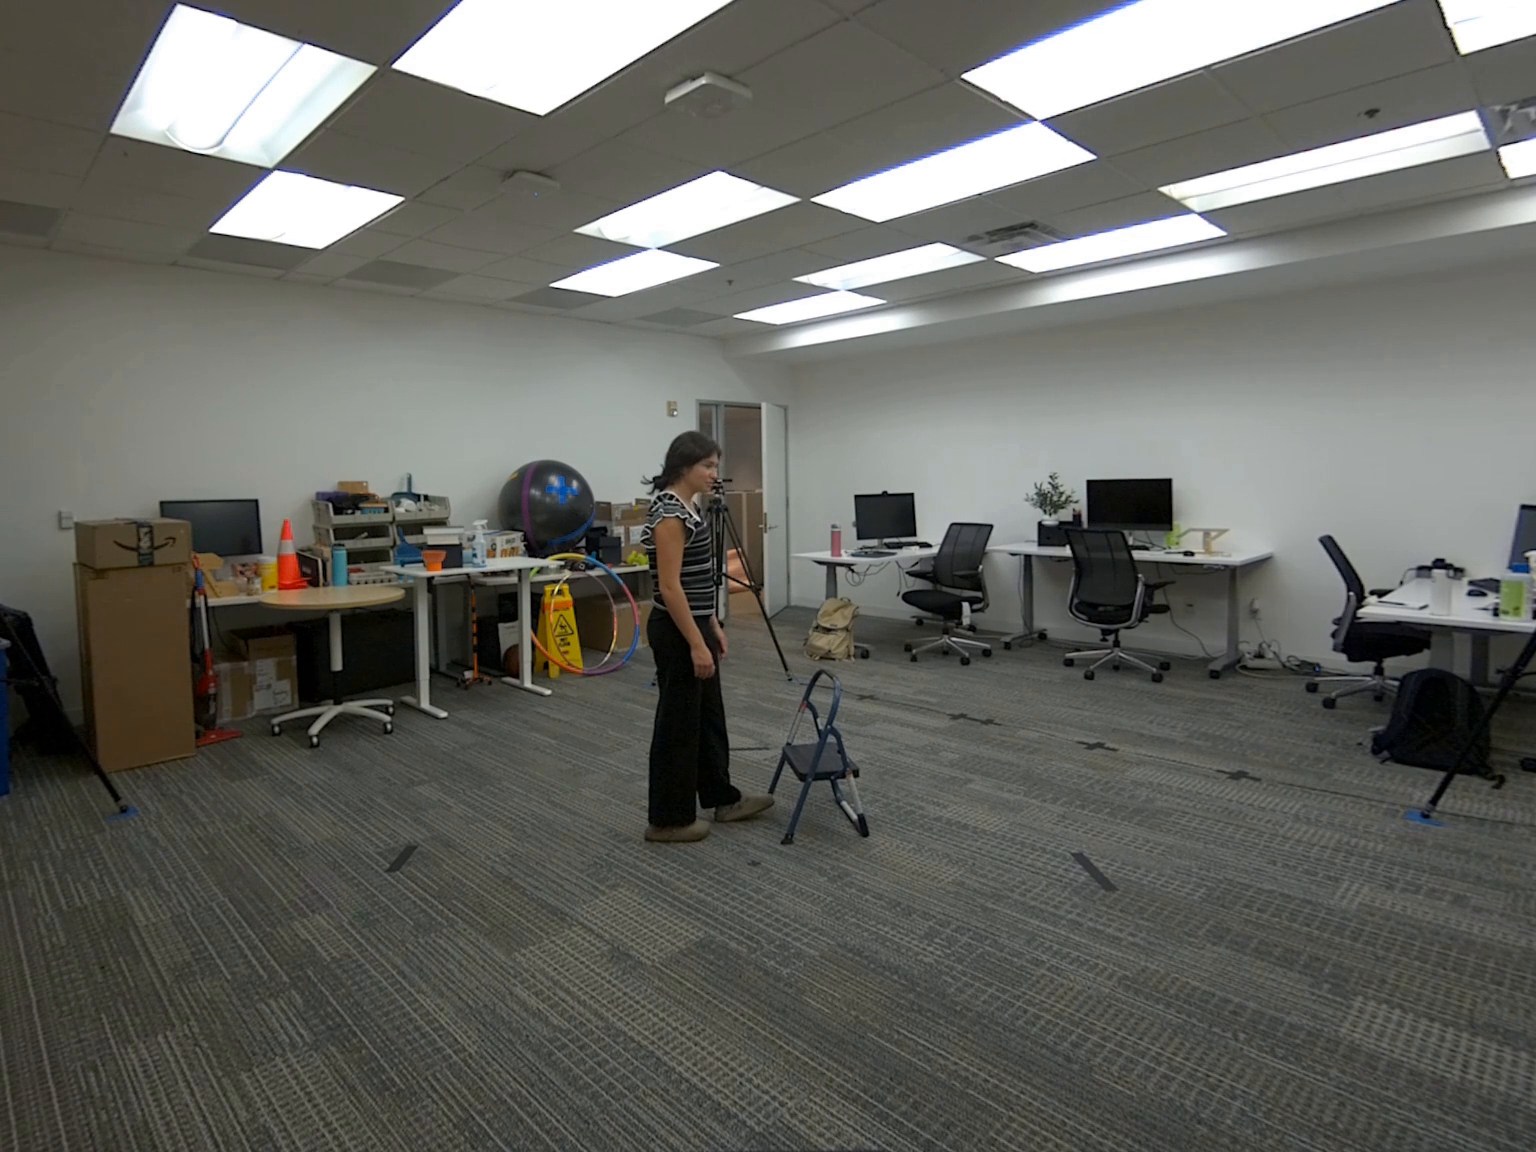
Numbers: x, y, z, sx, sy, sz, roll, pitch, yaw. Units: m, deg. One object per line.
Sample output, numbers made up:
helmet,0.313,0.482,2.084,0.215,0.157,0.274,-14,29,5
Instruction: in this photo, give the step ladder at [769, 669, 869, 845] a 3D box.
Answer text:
step ladder,0.184,0.697,3.480,0.346,0.604,0.436,-2,5,-11
